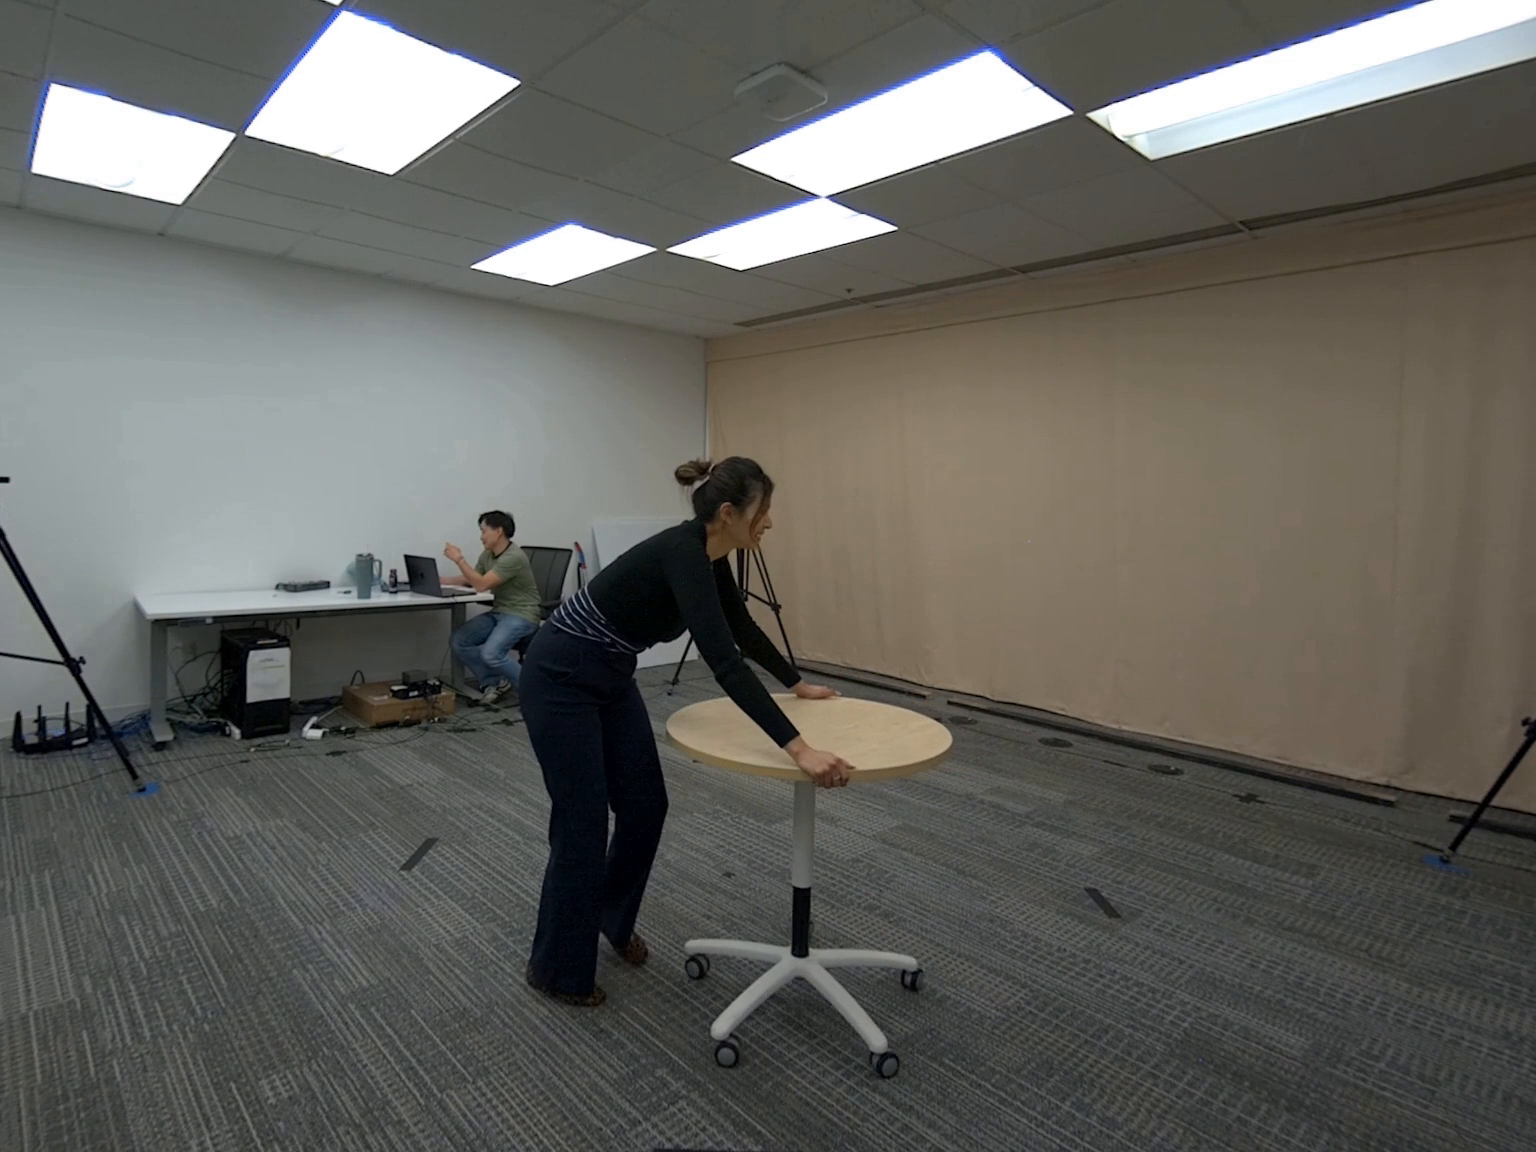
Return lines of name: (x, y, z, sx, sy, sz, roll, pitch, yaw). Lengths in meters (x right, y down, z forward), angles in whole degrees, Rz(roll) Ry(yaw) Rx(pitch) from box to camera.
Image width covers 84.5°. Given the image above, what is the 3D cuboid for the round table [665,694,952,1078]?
round table: (0.096, 0.798, 2.312, 0.763, 0.792, 0.767, 1, 4, -1)
